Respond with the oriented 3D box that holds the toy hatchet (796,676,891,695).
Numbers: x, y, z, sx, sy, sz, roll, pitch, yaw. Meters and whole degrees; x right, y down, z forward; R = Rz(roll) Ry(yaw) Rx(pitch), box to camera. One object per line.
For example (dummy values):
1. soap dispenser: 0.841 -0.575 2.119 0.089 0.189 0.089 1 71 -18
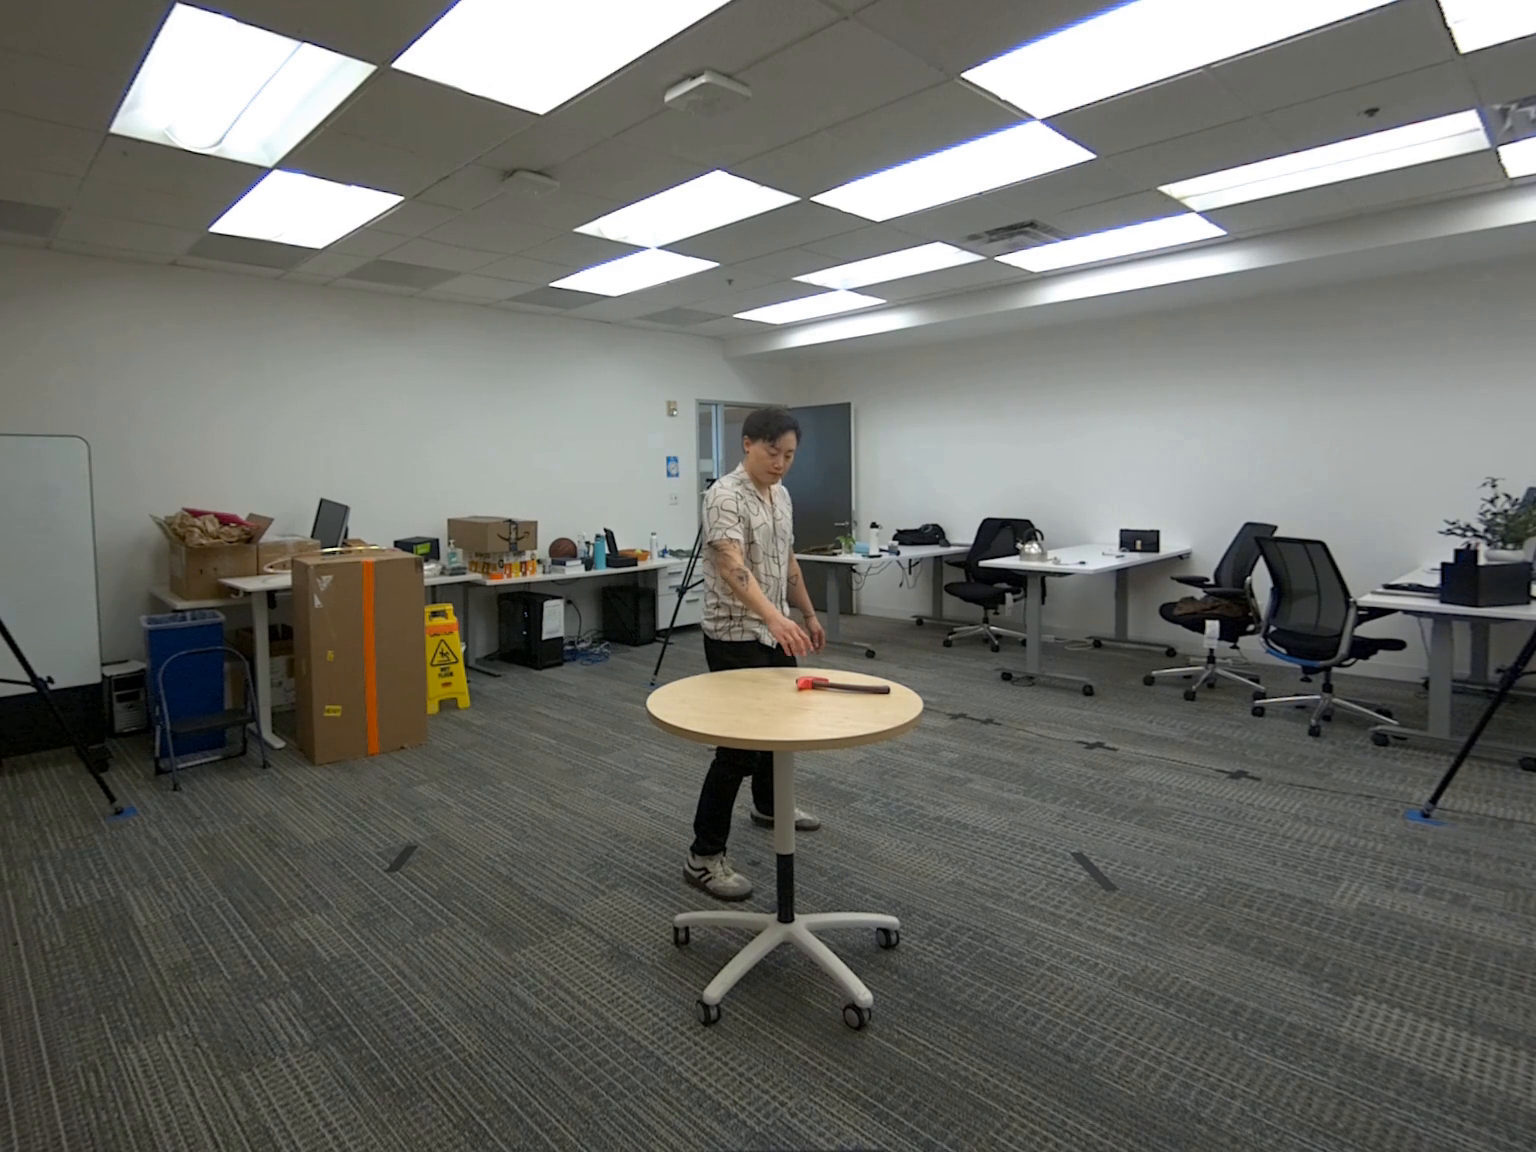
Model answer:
1. toy hatchet: 0.227 0.321 2.495 0.272 0.029 0.130 1 3 6
